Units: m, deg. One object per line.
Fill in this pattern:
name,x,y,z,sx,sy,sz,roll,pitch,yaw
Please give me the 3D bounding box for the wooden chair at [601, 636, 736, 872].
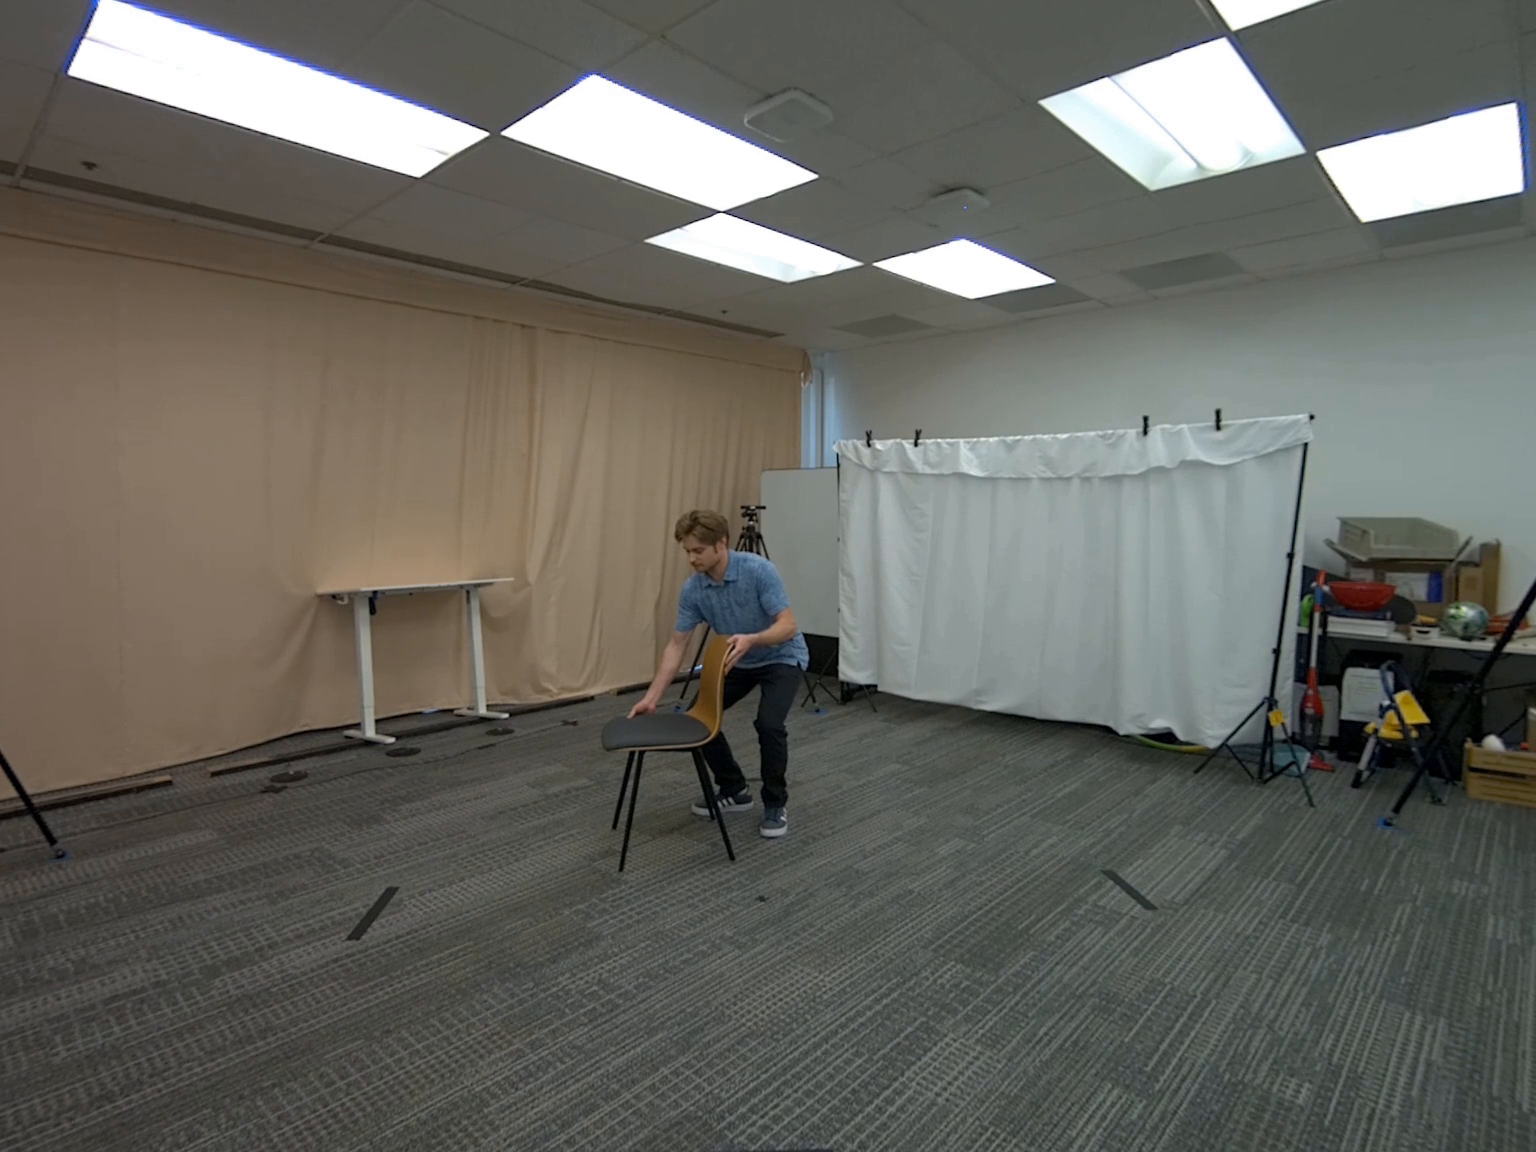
wooden chair,-0.414,0.674,3.423,0.516,0.876,0.486,2,3,-14
